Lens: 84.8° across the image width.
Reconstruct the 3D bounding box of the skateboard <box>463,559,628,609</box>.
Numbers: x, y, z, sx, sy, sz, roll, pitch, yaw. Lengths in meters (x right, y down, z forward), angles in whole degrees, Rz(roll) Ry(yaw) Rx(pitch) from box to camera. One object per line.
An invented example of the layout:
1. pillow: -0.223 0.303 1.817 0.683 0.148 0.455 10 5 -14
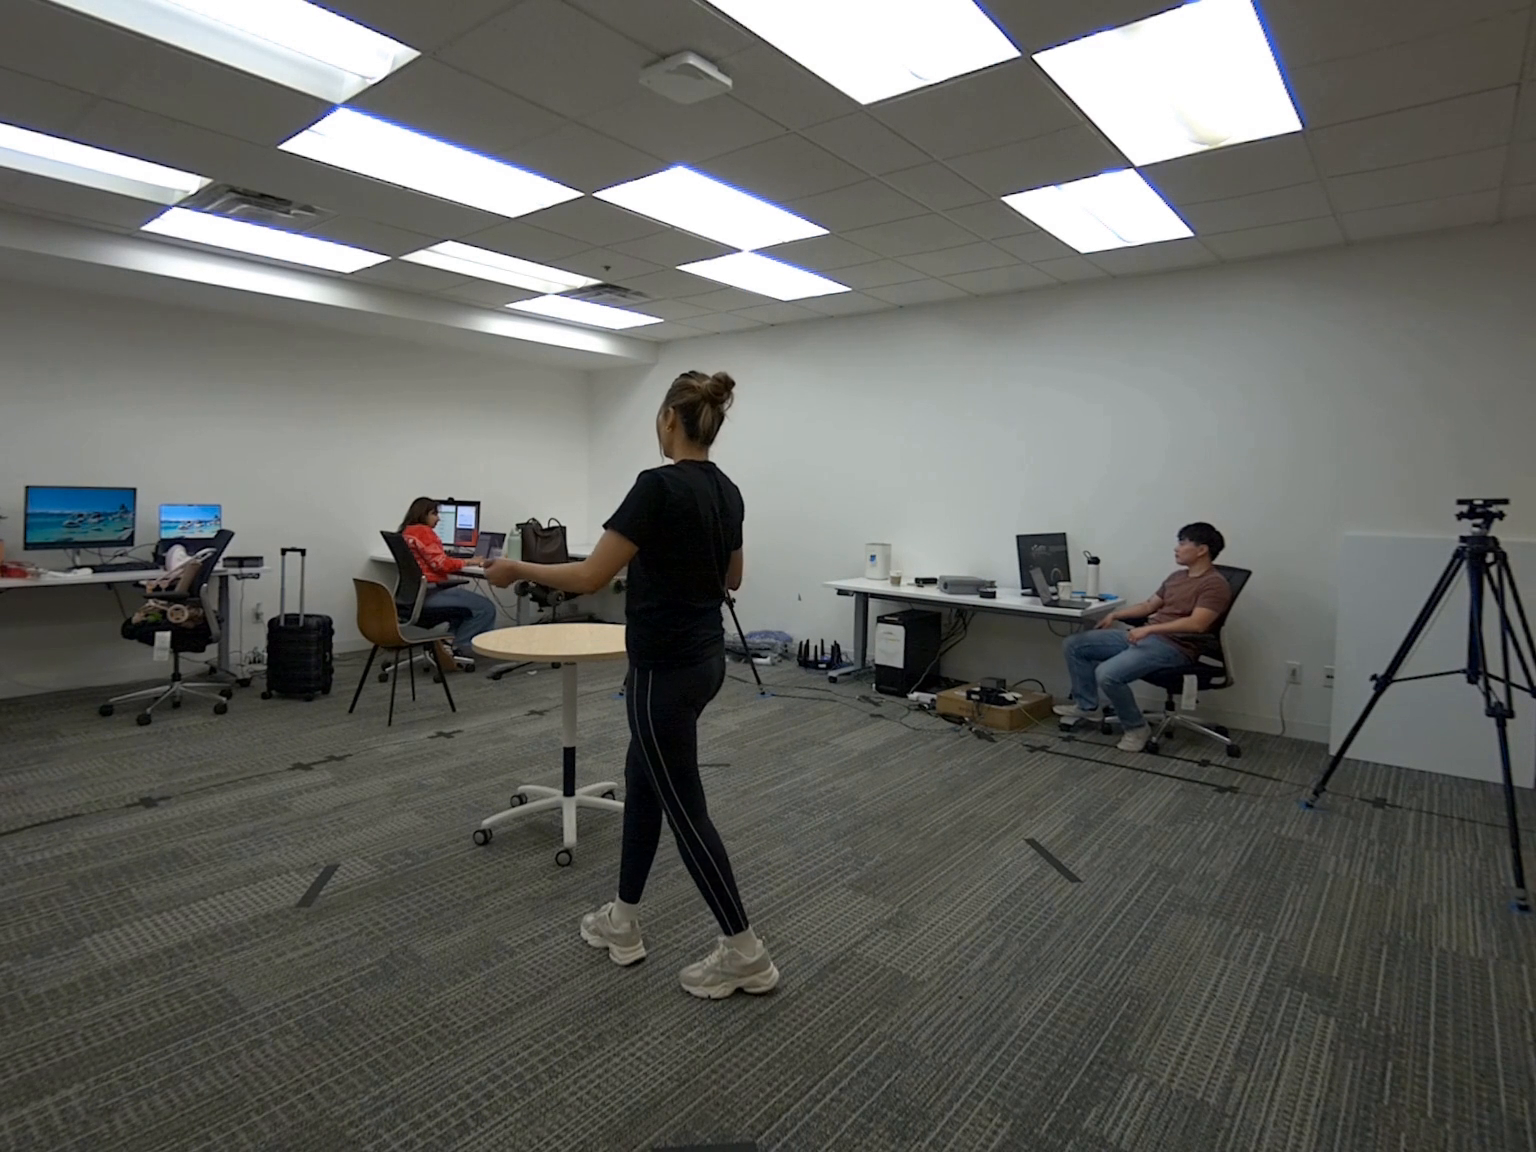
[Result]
1. skateboard: -0.571 0.016 2.665 0.200 0.110 0.761 8 5 35
